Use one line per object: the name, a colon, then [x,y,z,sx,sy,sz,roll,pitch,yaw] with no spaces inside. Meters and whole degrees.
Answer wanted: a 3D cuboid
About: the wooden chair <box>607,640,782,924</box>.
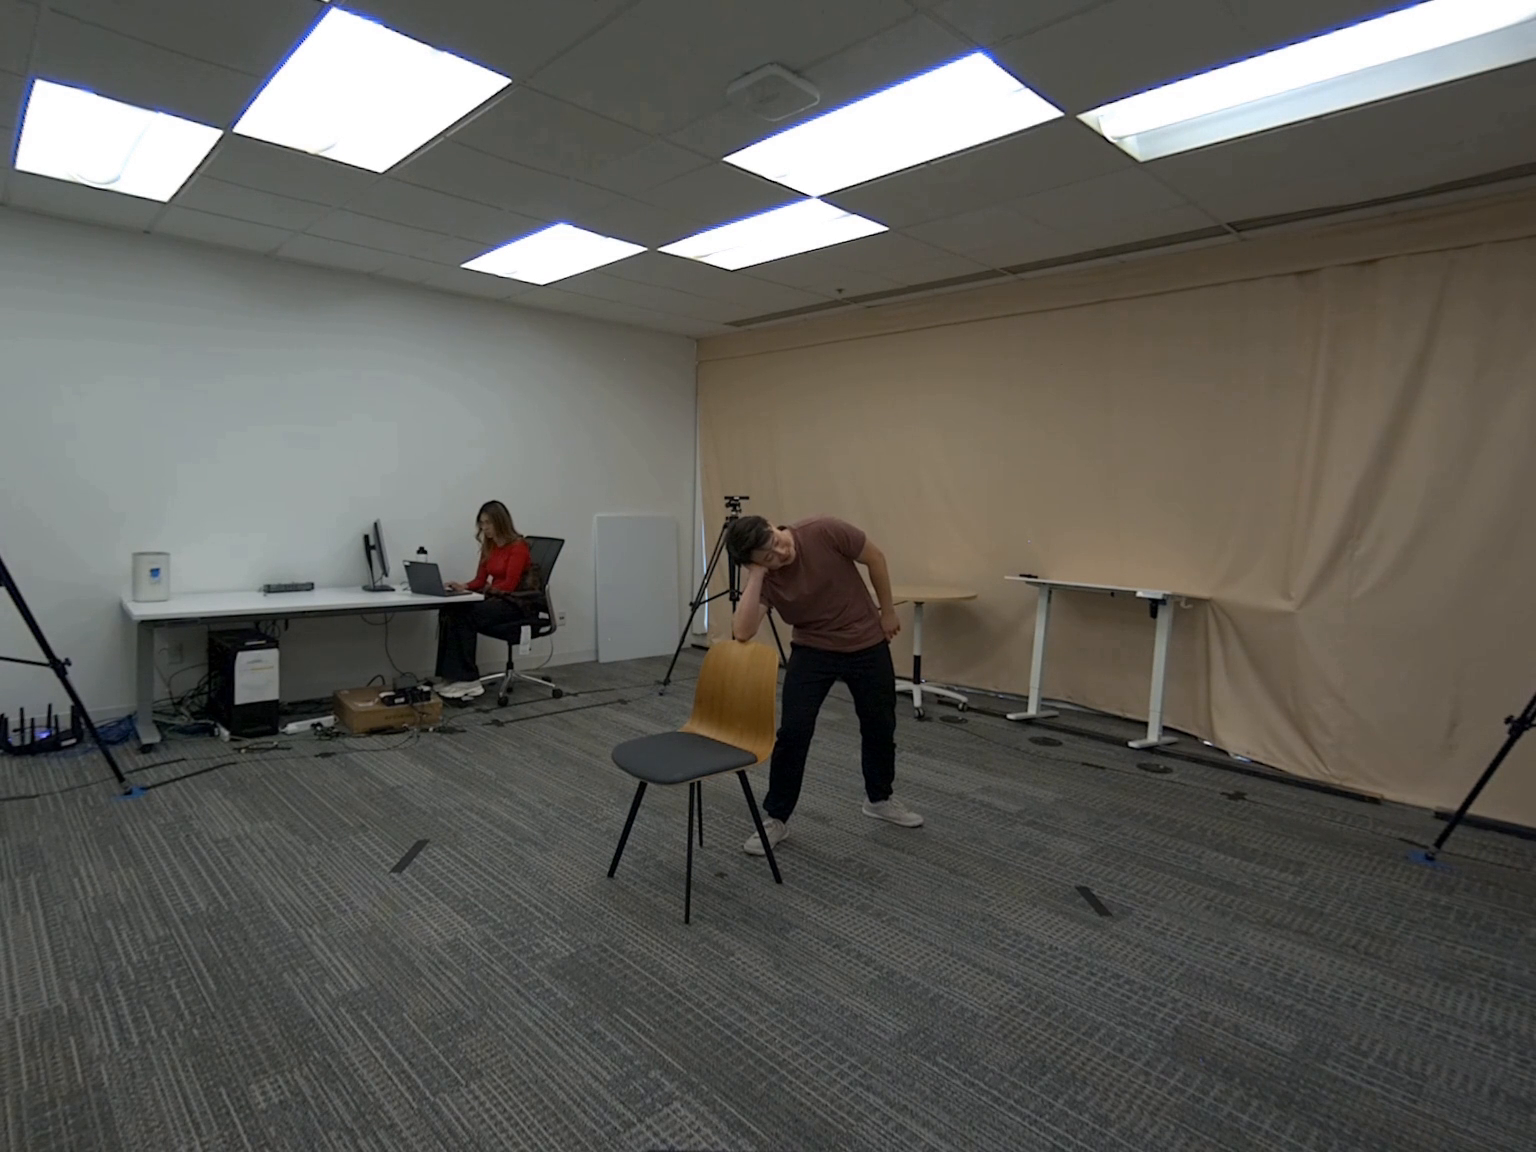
wooden chair: [-0.265,0.682,3.015,0.510,0.877,0.490,4,1,-44]
